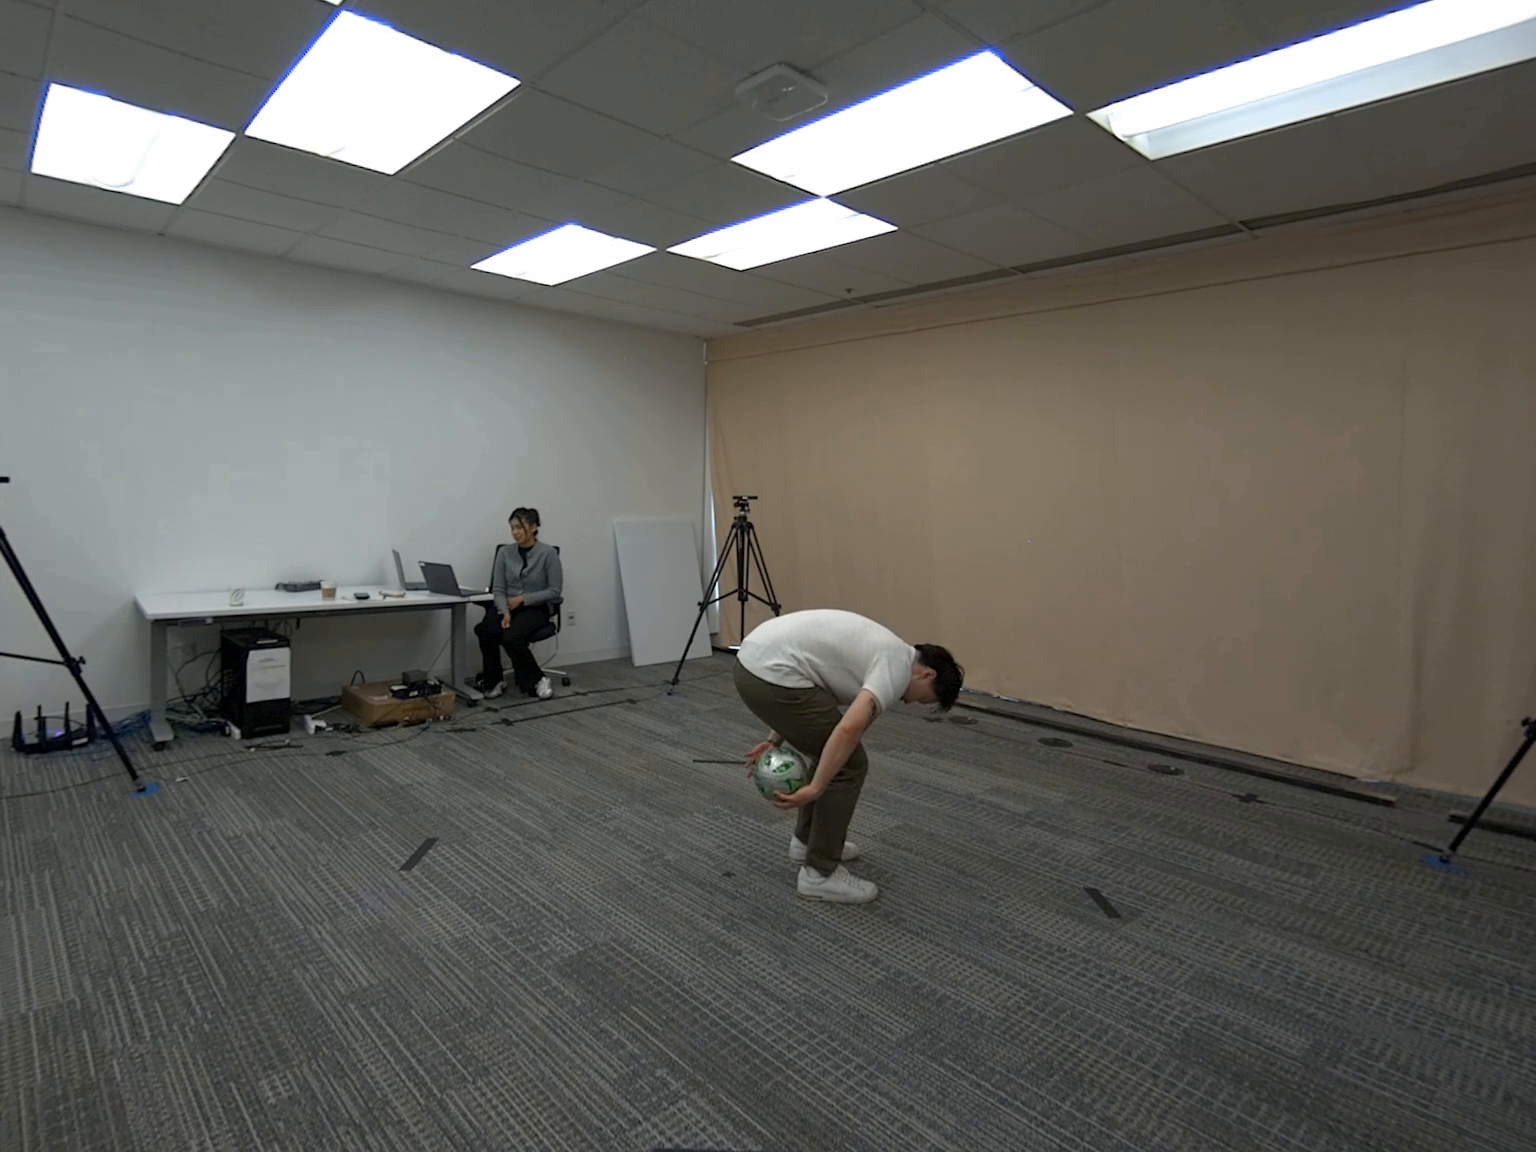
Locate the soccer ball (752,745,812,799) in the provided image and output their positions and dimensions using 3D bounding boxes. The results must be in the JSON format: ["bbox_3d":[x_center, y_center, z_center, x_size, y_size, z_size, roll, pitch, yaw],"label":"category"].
[{"bbox_3d":[0.034,0.684,2.880,0.187,0.187,0.188,1,4,-1],"label":"soccer ball"}]
